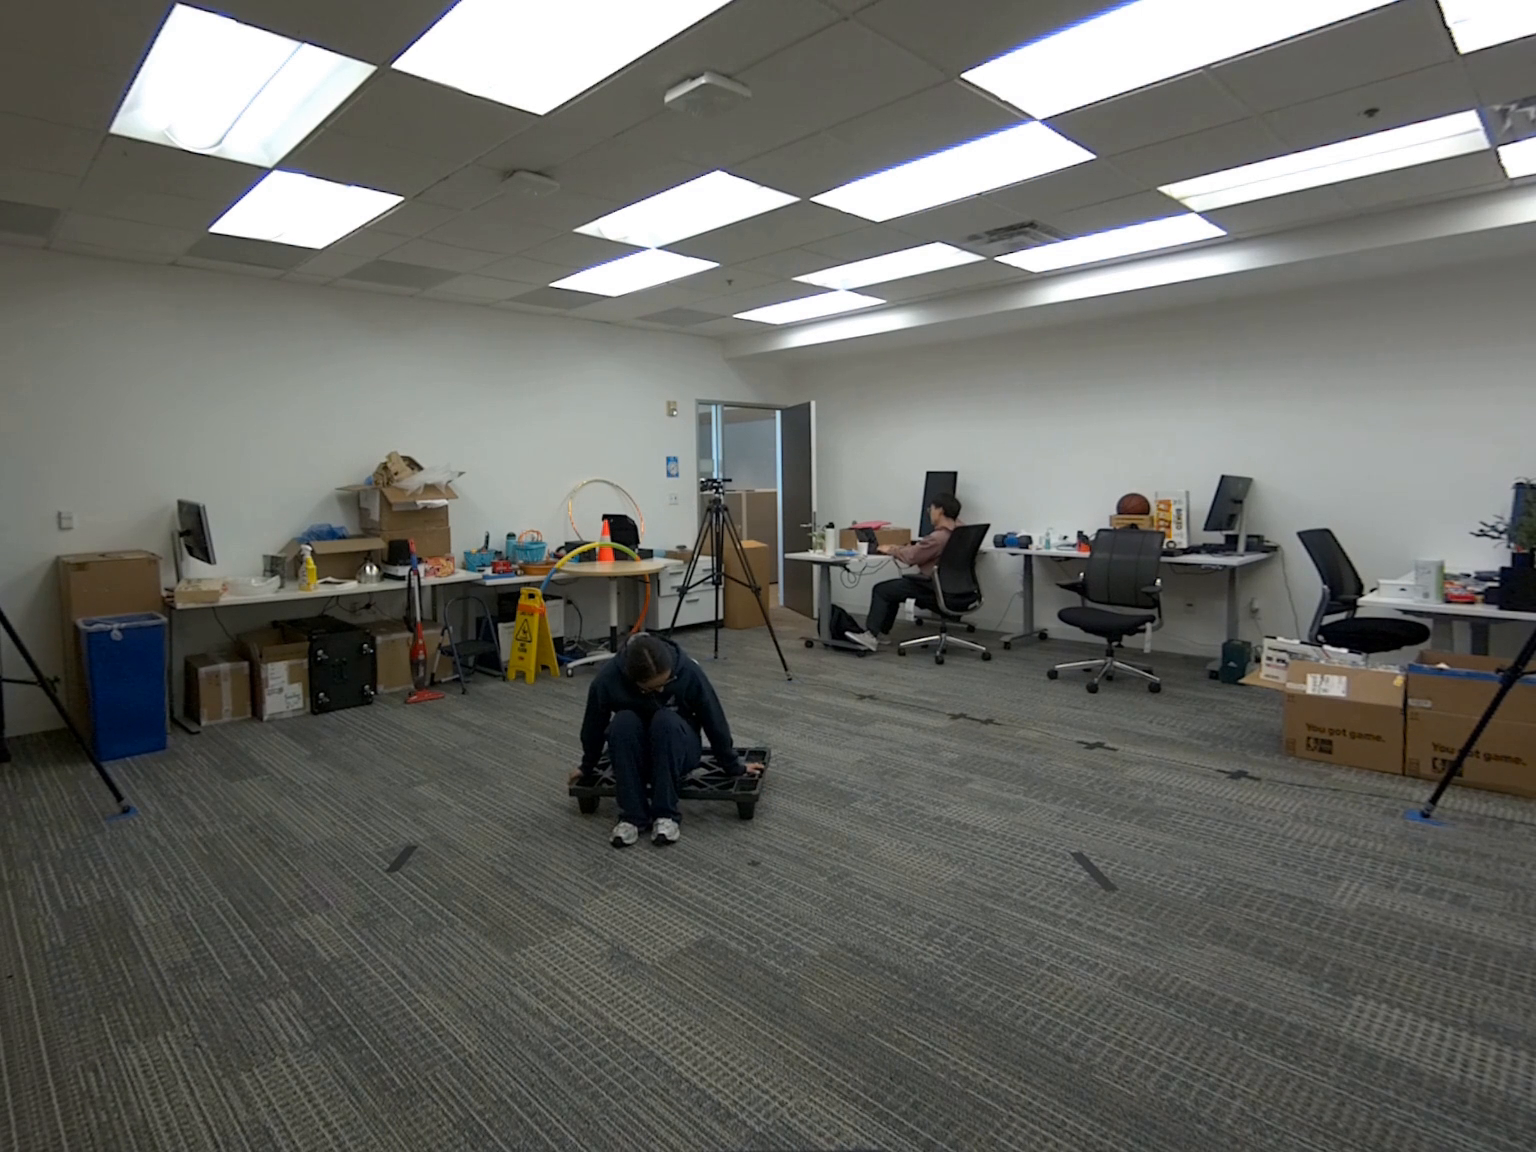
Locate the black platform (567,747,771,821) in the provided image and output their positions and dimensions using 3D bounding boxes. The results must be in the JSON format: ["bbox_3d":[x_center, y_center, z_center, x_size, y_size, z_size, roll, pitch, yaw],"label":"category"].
[{"bbox_3d":[-0.405,0.906,3.790,0.812,0.143,0.603,0,6,7],"label":"black platform"}]
